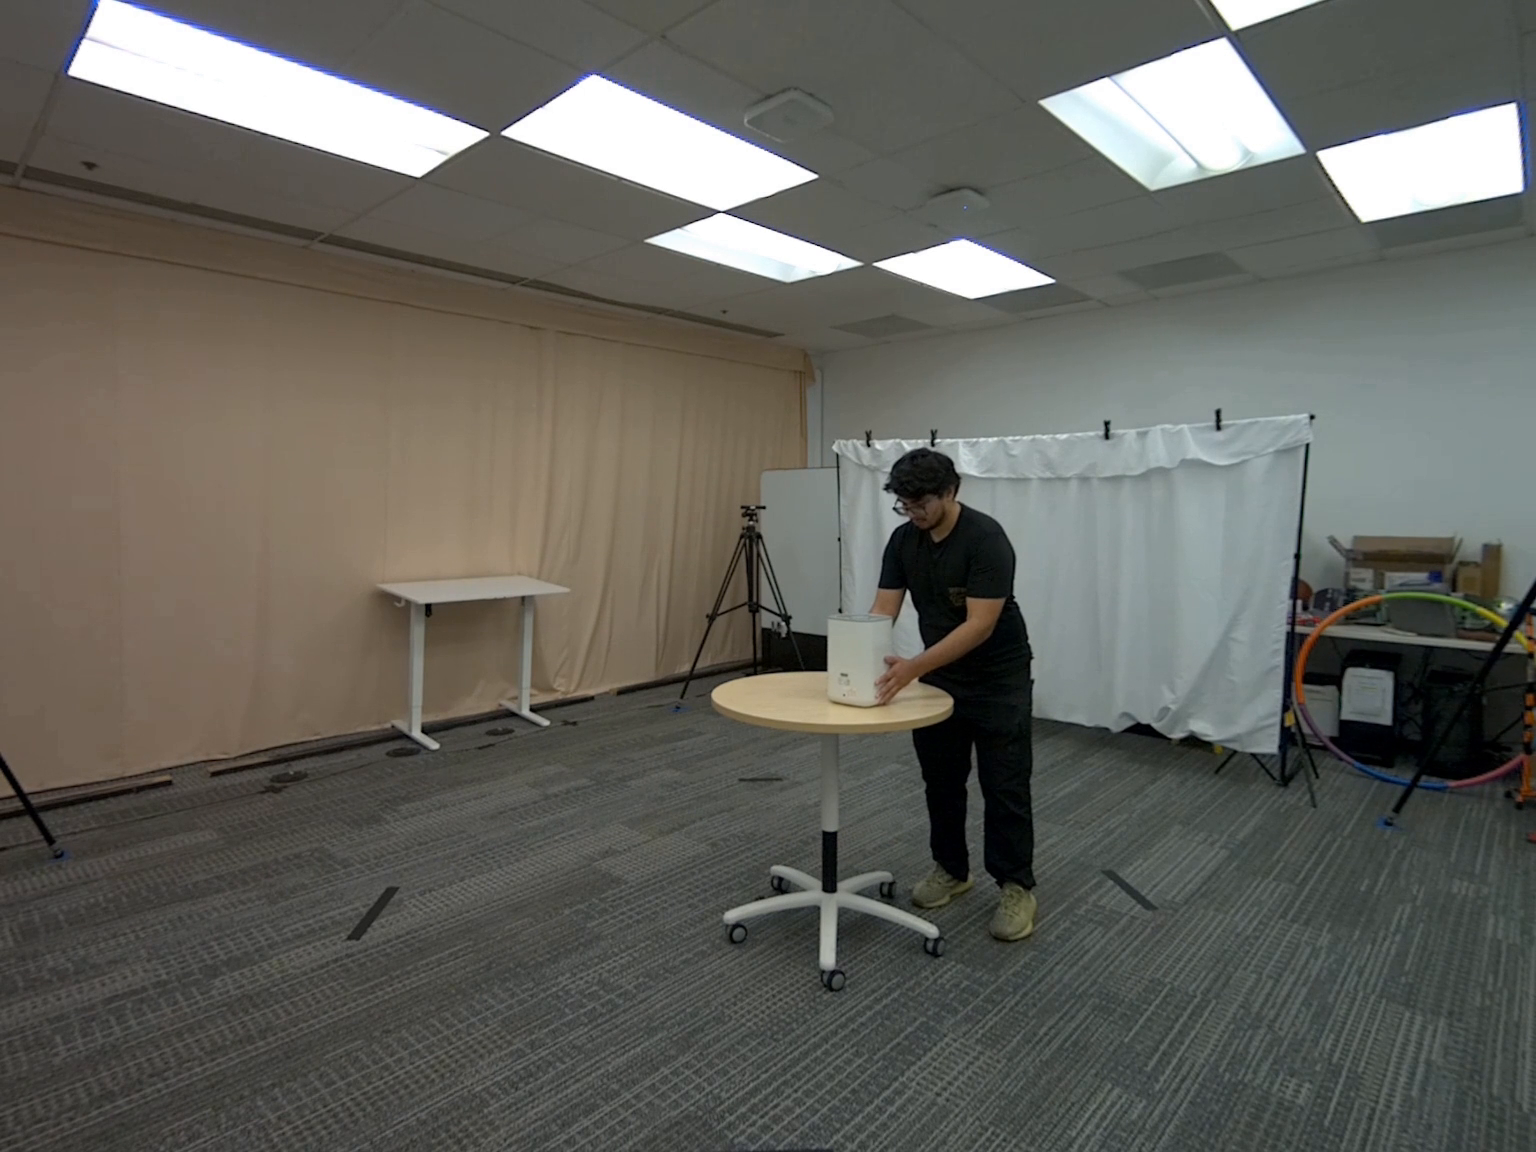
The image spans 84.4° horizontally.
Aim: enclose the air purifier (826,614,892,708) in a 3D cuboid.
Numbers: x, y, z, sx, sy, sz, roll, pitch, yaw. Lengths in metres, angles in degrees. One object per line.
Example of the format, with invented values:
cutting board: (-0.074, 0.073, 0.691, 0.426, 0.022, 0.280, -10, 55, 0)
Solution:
air purifier: (0.293, 0.261, 2.598, 0.176, 0.264, 0.167, 4, 7, 36)
